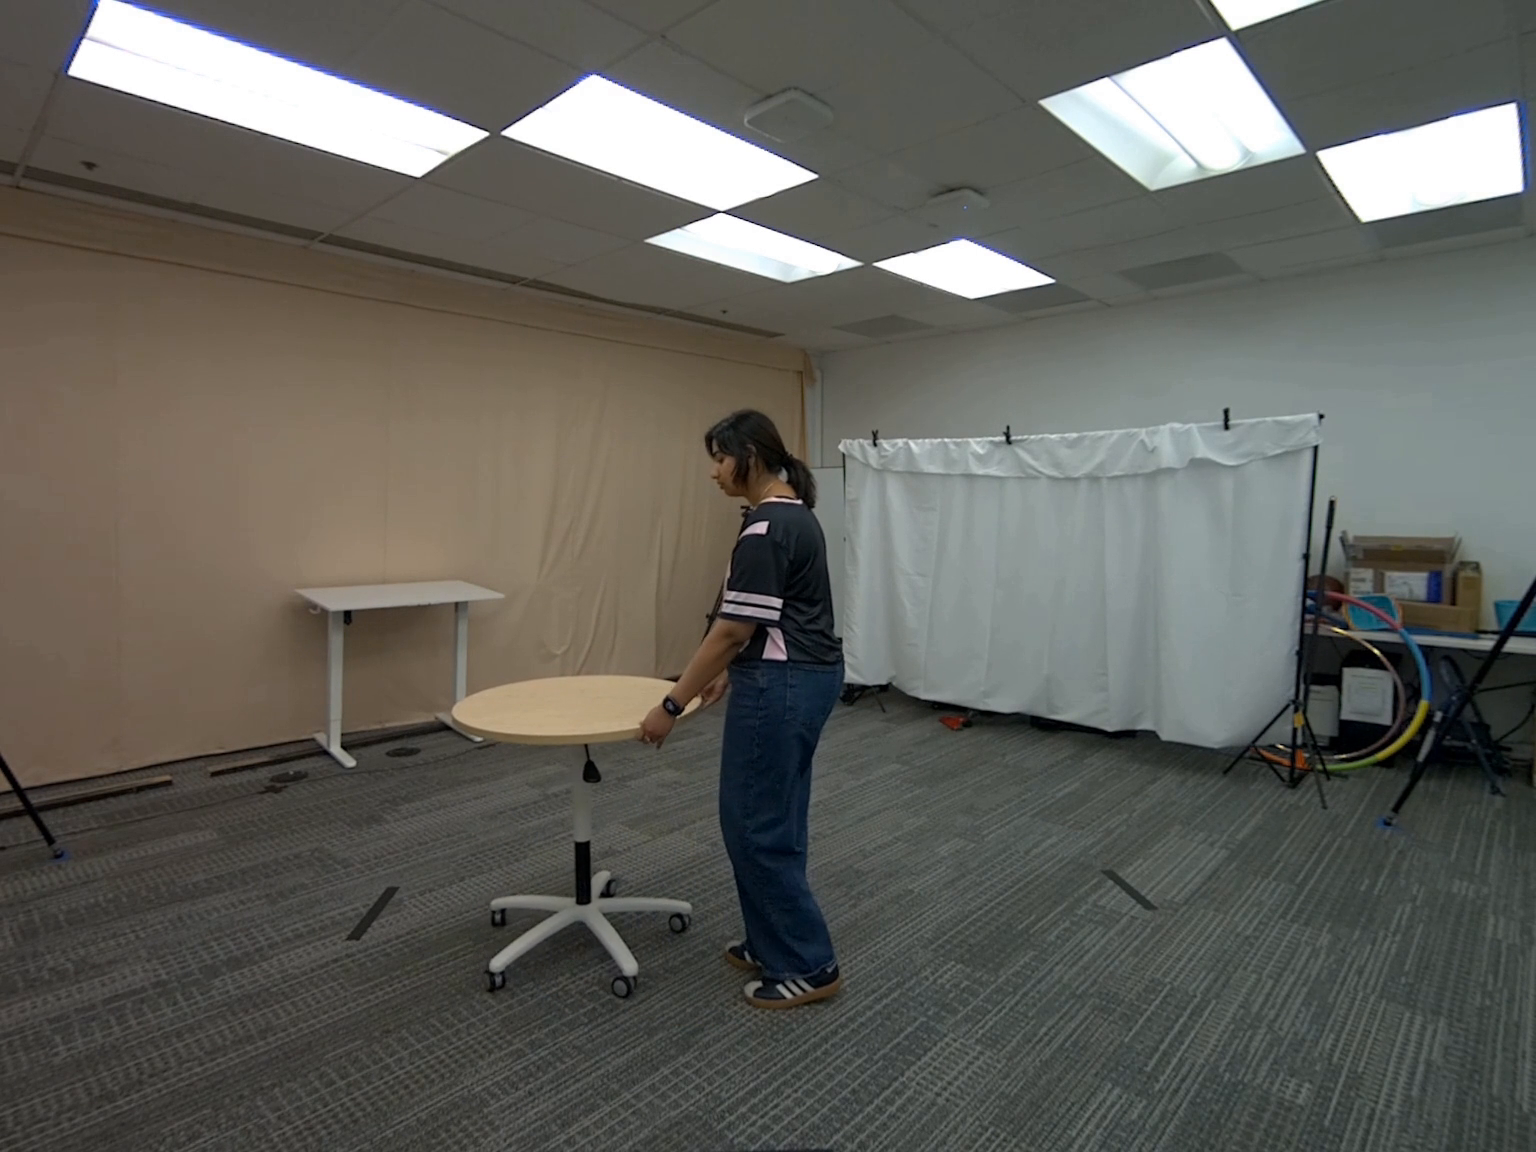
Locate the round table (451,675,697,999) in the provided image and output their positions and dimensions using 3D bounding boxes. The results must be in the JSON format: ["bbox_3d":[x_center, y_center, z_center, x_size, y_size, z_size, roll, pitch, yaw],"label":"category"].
[{"bbox_3d":[-0.584,0.787,2.663,0.763,0.792,0.767,-1,4,-2],"label":"round table"}]
